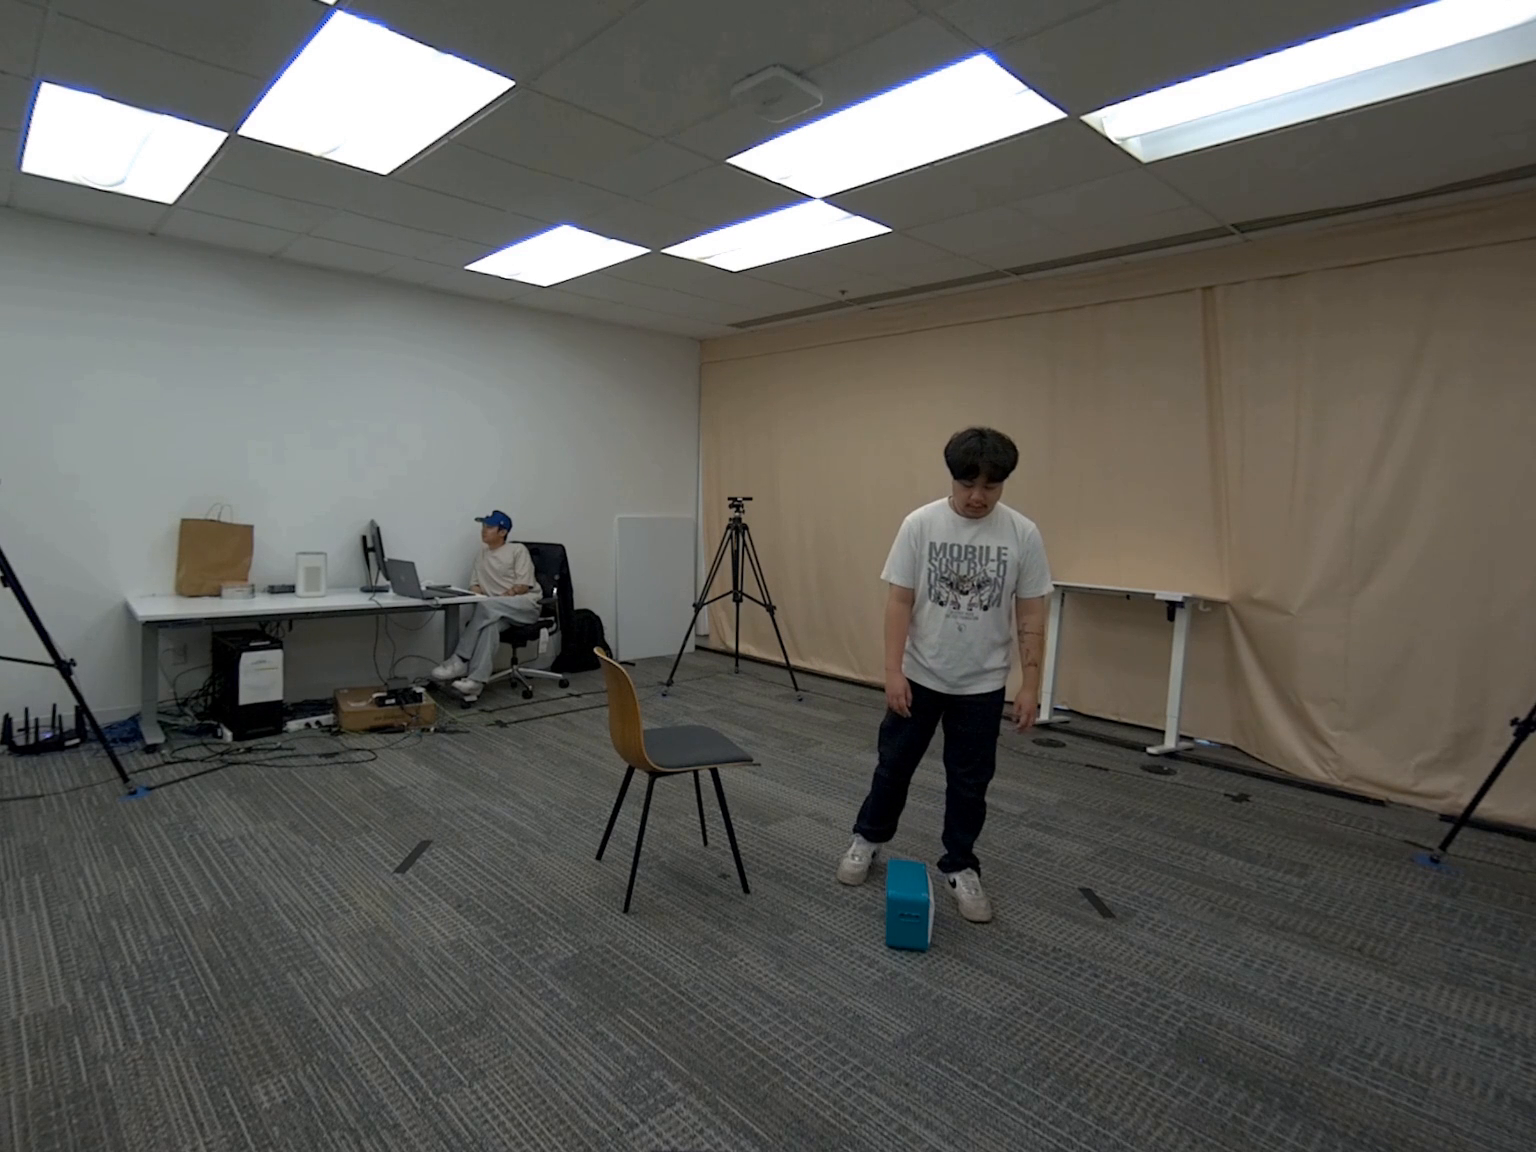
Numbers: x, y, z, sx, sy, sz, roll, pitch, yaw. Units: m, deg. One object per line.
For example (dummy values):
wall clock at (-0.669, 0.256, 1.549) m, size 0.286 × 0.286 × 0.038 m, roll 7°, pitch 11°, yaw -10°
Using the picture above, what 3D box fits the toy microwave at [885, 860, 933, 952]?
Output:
toy microwave at (0.453, 1.064, 2.733) m, size 0.153 × 0.184 × 0.285 m, roll -1°, pitch 4°, yaw 8°
